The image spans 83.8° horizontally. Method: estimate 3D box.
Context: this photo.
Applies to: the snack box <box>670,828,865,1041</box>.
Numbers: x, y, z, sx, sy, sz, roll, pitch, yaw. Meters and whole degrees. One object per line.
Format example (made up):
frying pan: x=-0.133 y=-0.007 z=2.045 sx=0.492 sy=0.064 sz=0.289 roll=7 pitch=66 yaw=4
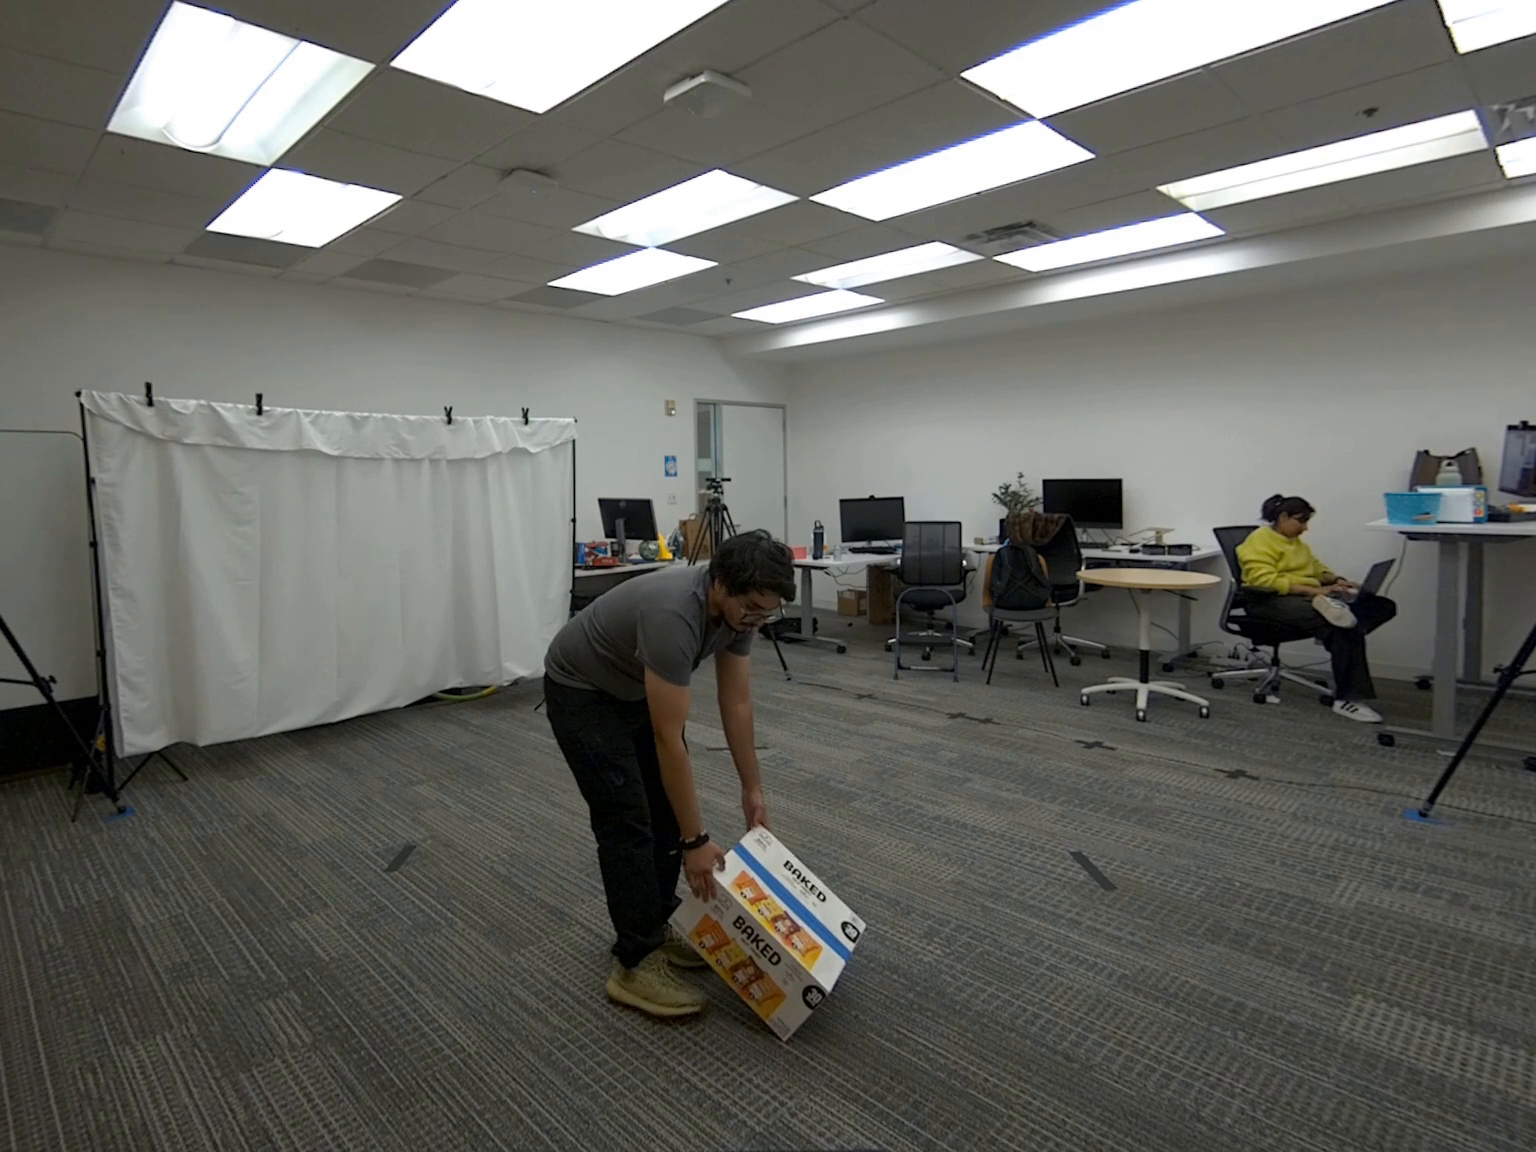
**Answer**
snack box: x=0.005 y=0.933 z=2.294 sx=0.414 sy=0.205 sz=0.334 roll=40 pitch=19 yaw=15
